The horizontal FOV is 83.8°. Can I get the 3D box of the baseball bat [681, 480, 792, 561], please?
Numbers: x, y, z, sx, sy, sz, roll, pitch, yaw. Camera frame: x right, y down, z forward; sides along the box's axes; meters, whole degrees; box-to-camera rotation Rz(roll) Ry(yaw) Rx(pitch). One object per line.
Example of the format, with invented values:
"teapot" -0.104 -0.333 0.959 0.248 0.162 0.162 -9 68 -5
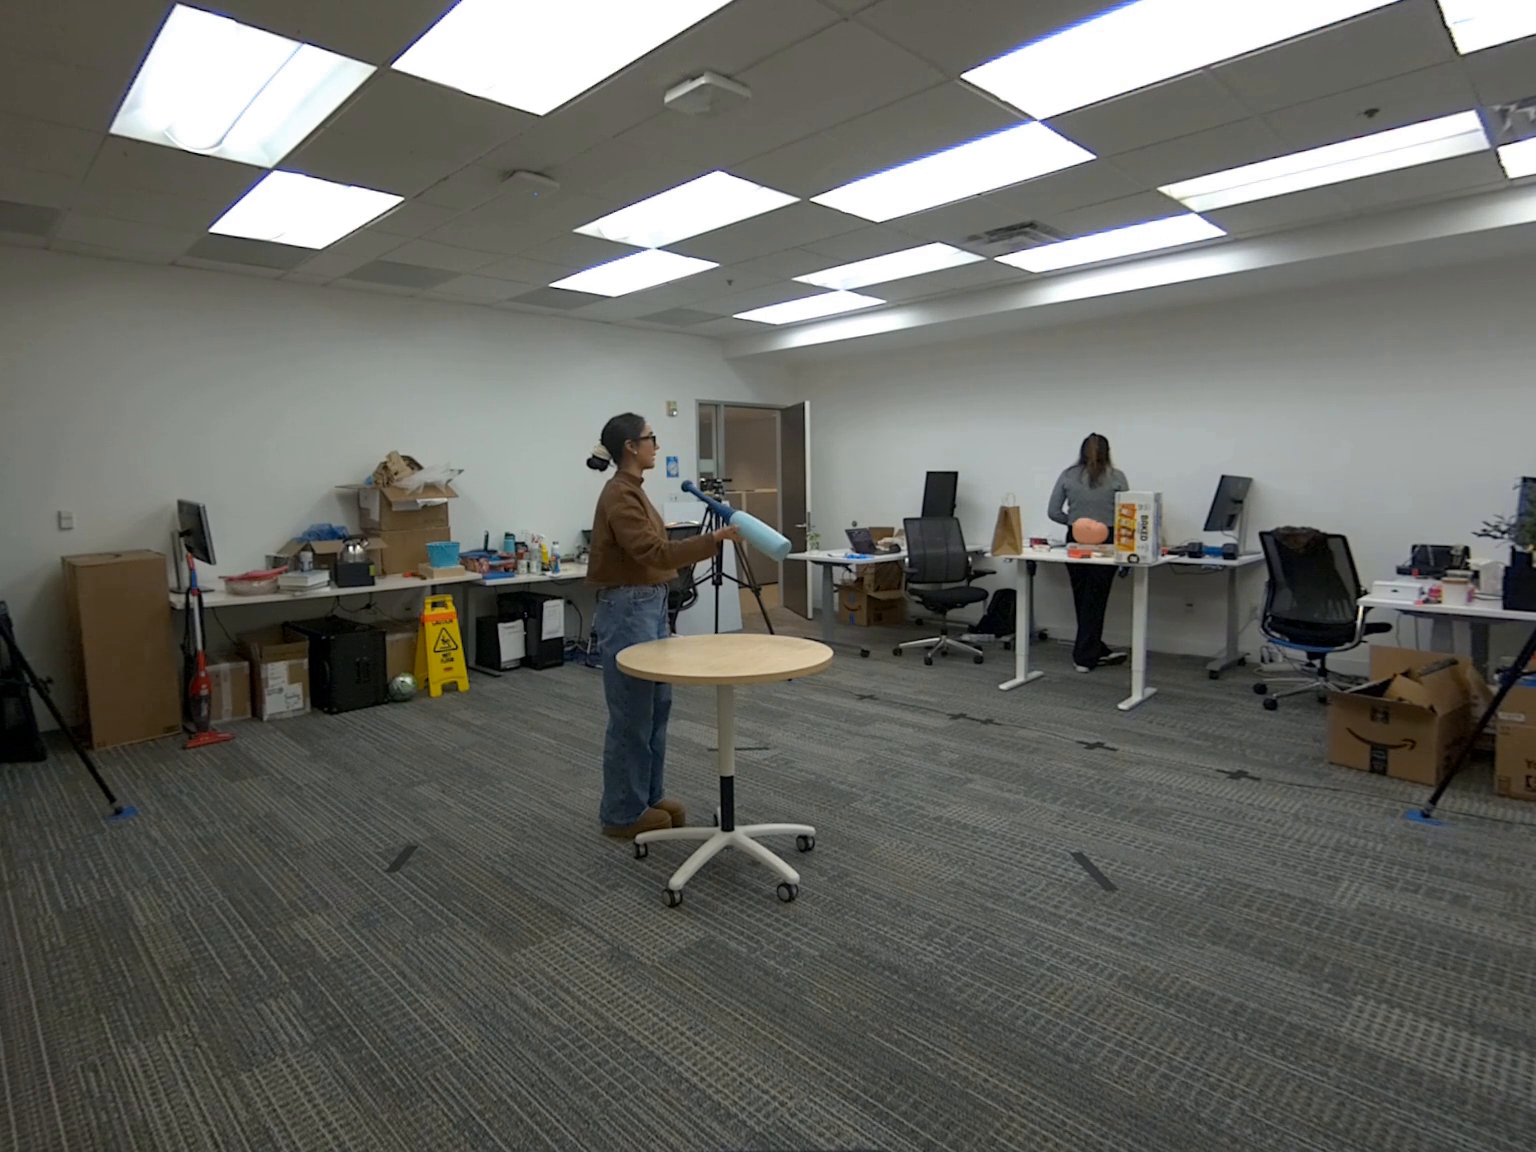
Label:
"baseball bat" -0.130 -0.217 3.141 0.087 0.088 0.564 -5 33 -46
